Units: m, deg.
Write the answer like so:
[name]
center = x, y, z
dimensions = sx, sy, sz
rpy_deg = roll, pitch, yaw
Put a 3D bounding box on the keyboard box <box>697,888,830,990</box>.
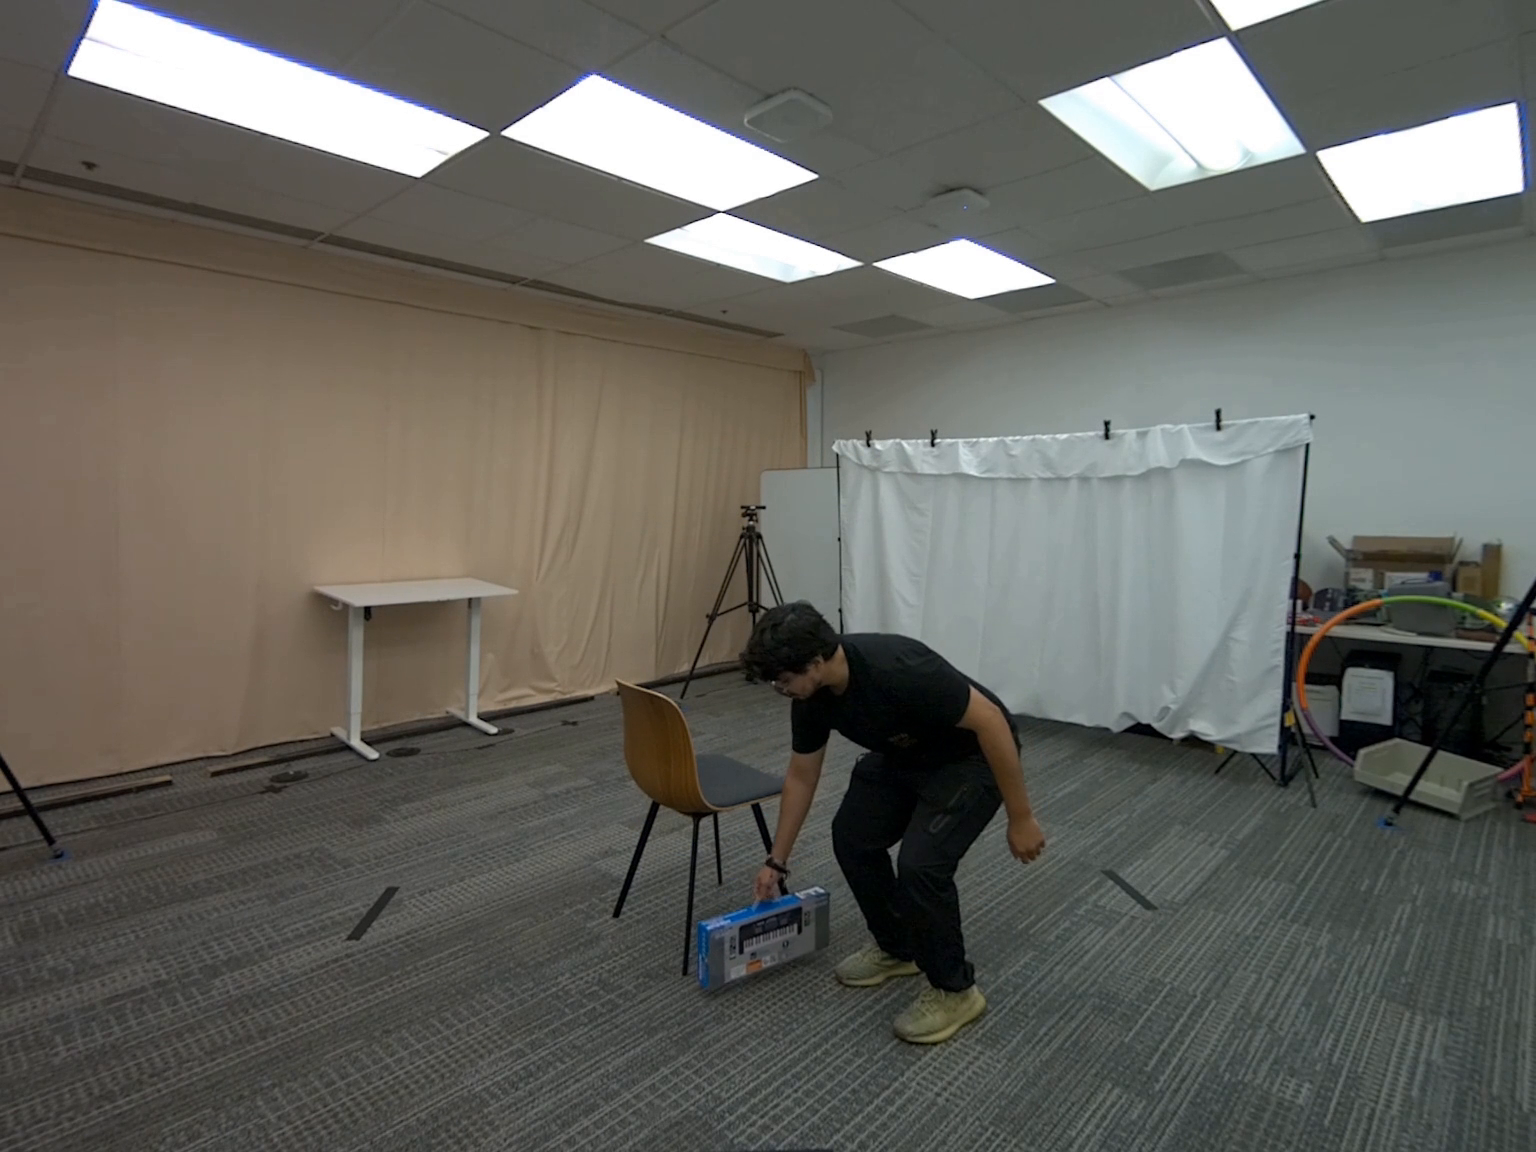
[keyboard box]
center = 0.001, 1.060, 2.482
dimensions = 0.425, 0.175, 0.061
rpy_deg = -3, 3, -32
